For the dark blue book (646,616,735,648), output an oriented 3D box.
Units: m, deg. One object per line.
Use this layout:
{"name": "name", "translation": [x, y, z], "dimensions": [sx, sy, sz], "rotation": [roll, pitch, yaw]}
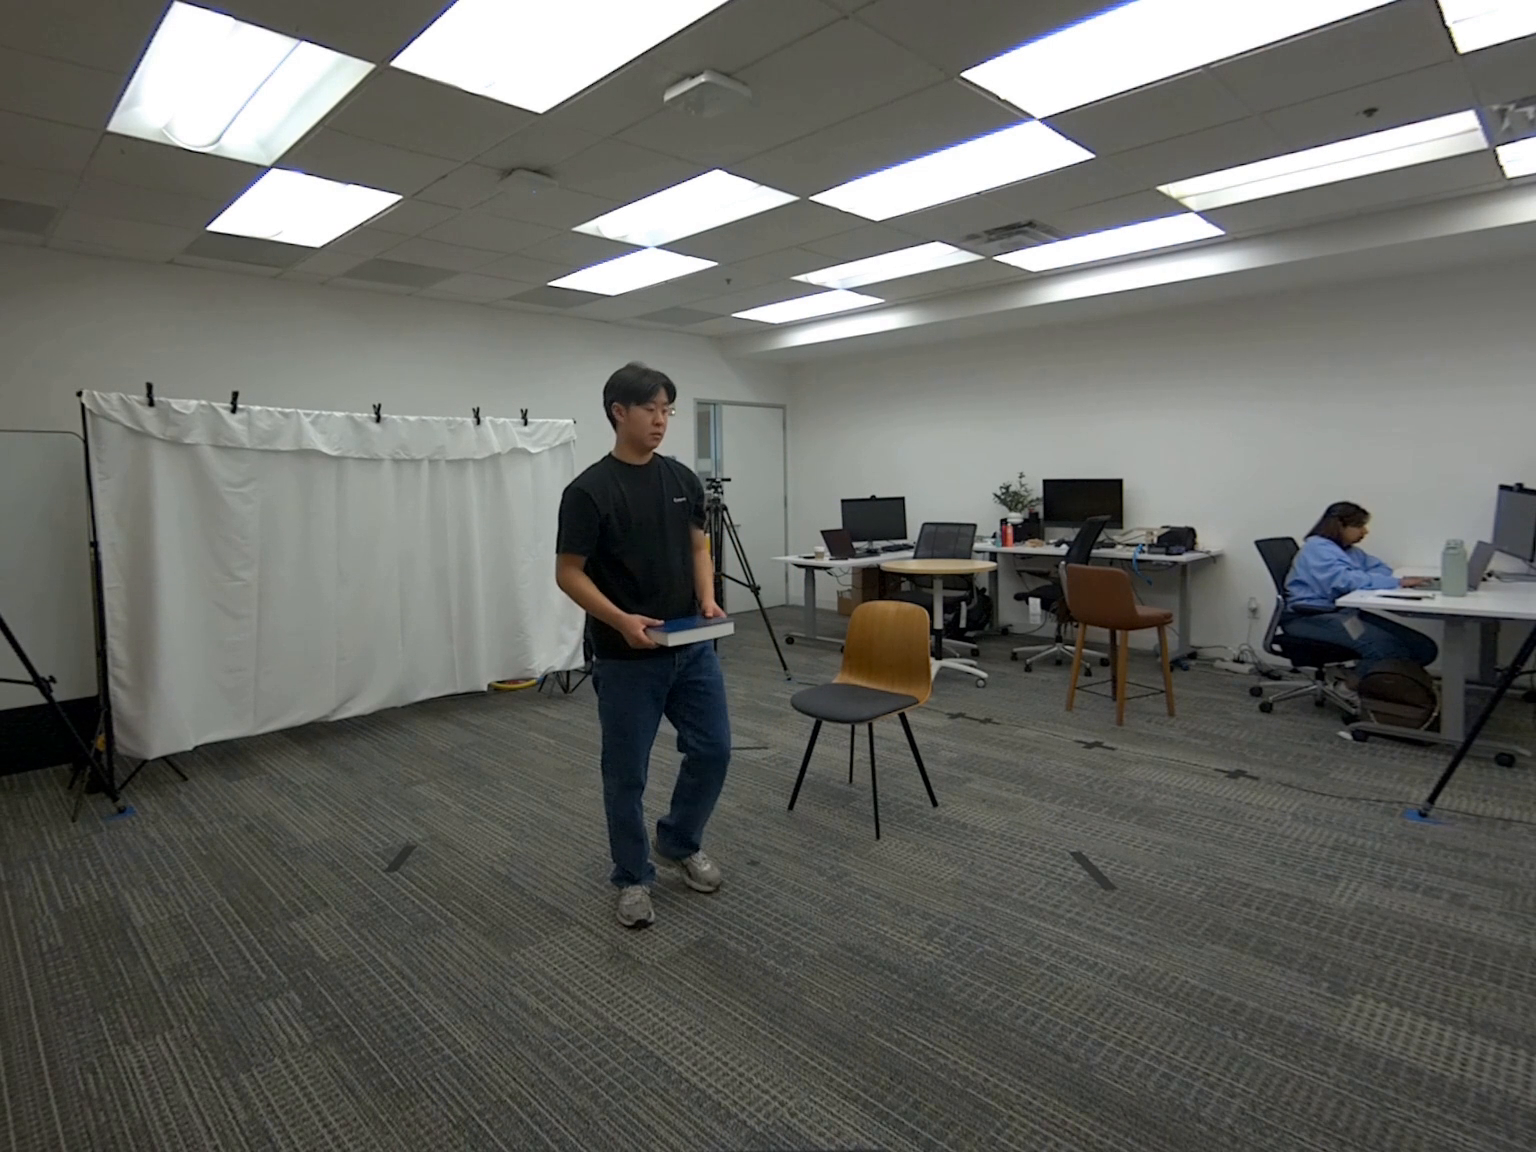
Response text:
{"name": "dark blue book", "translation": [-0.251, 0.168, 2.554], "dimensions": [0.239, 0.045, 0.168], "rotation": [-9, 9, -39]}
